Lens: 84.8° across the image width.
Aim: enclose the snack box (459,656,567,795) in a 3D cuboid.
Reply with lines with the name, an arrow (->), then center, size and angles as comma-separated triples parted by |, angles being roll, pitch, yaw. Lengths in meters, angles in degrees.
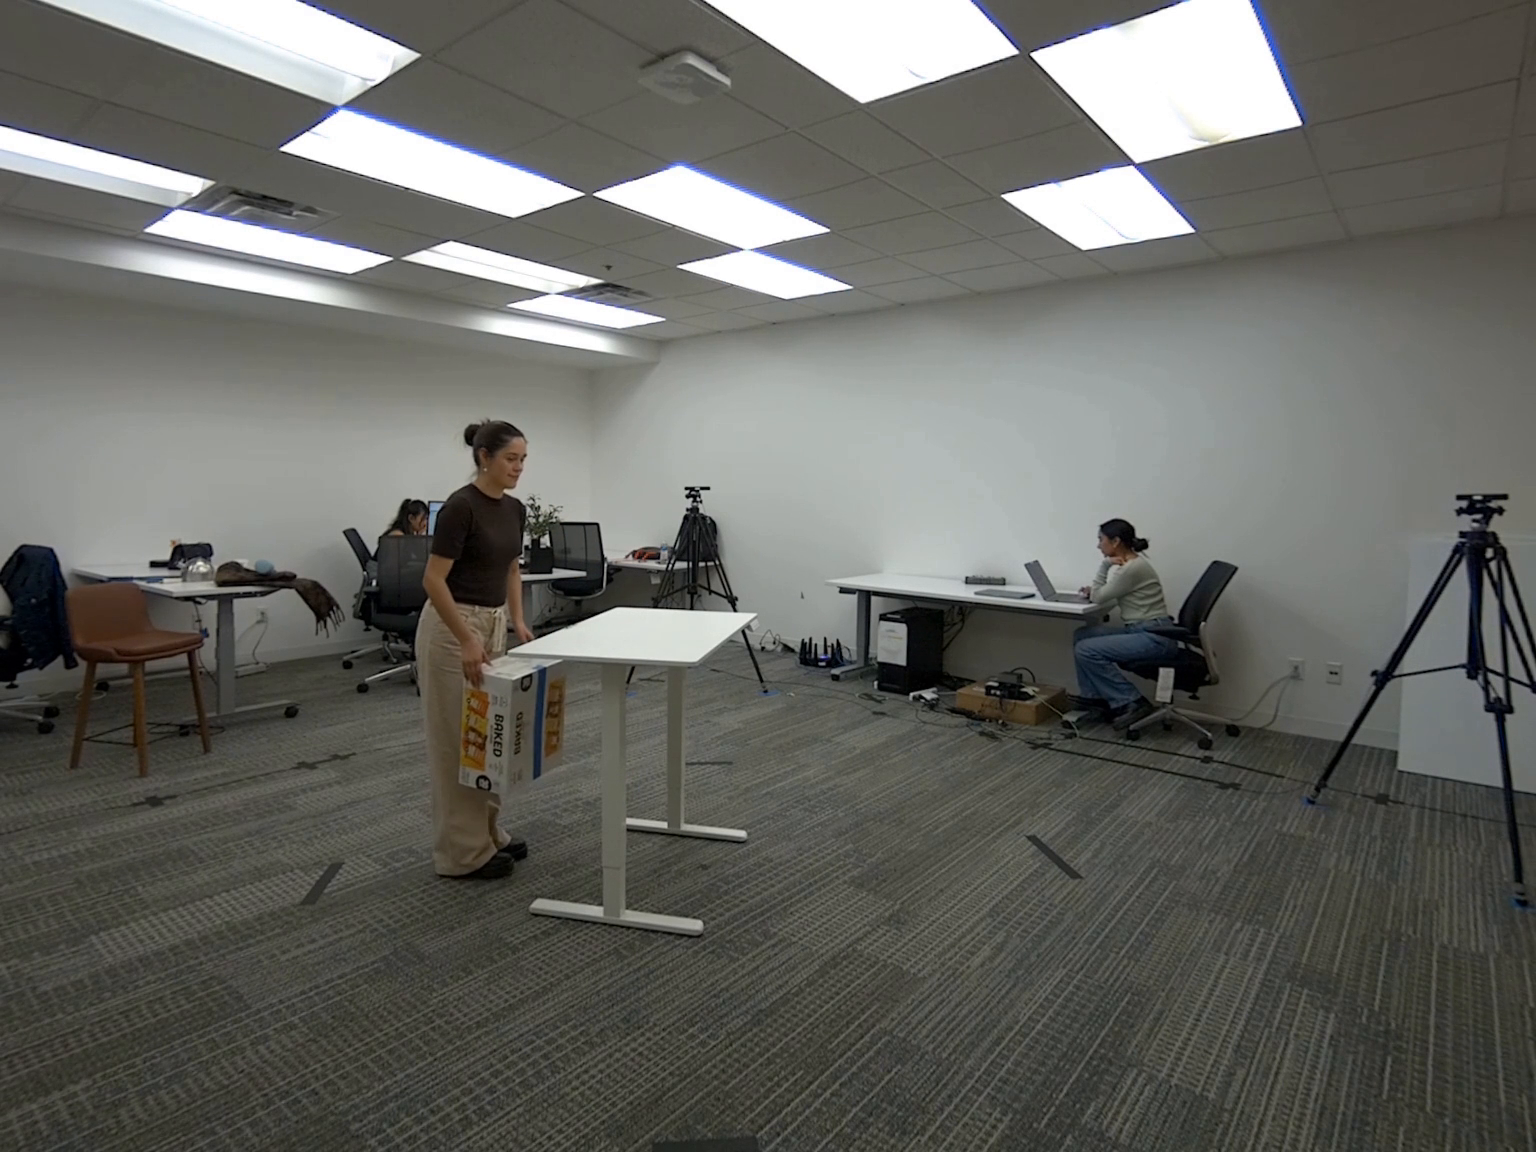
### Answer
snack box -> -0.917, 0.511, 3.011 | 0.210, 0.403, 0.334 | 7, 7, 19
